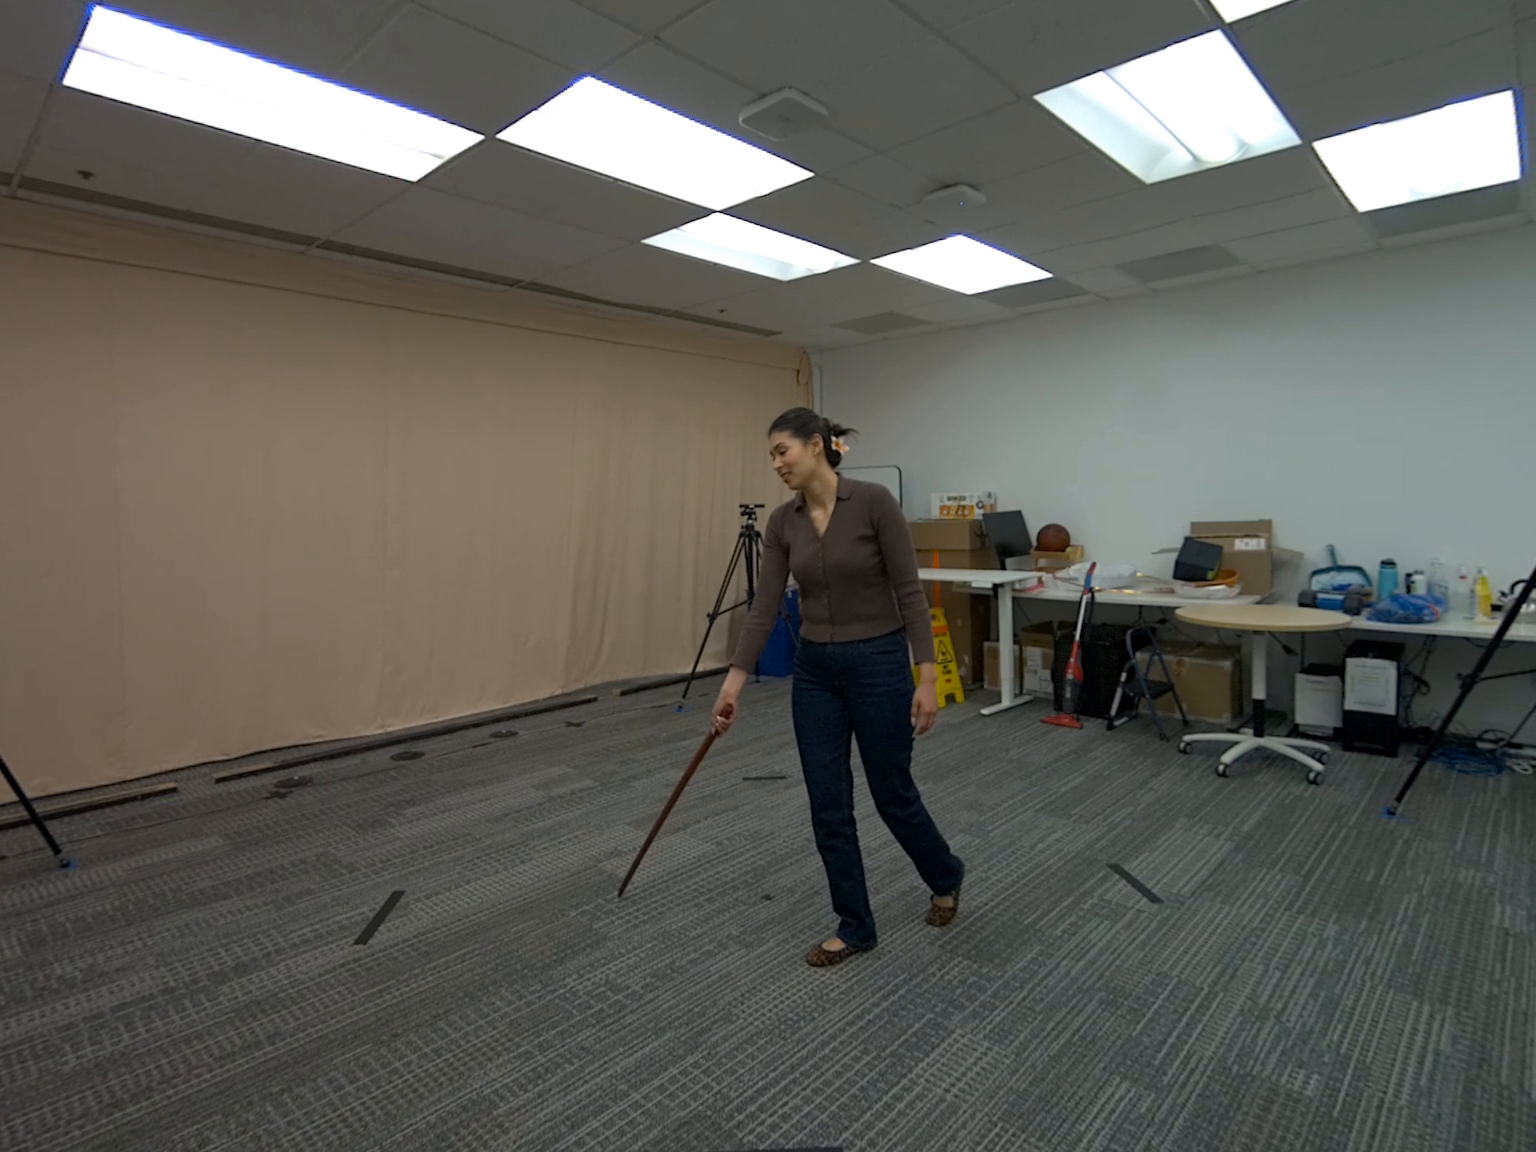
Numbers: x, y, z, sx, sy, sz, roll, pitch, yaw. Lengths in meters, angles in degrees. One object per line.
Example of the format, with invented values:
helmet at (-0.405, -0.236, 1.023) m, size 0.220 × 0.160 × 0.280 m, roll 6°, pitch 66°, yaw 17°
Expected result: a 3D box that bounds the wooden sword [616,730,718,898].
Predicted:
wooden sword at (-0.333, 0.766, 2.768) m, size 0.023 × 1.023 × 0.052 m, roll 19°, pitch 31°, yaw -18°
